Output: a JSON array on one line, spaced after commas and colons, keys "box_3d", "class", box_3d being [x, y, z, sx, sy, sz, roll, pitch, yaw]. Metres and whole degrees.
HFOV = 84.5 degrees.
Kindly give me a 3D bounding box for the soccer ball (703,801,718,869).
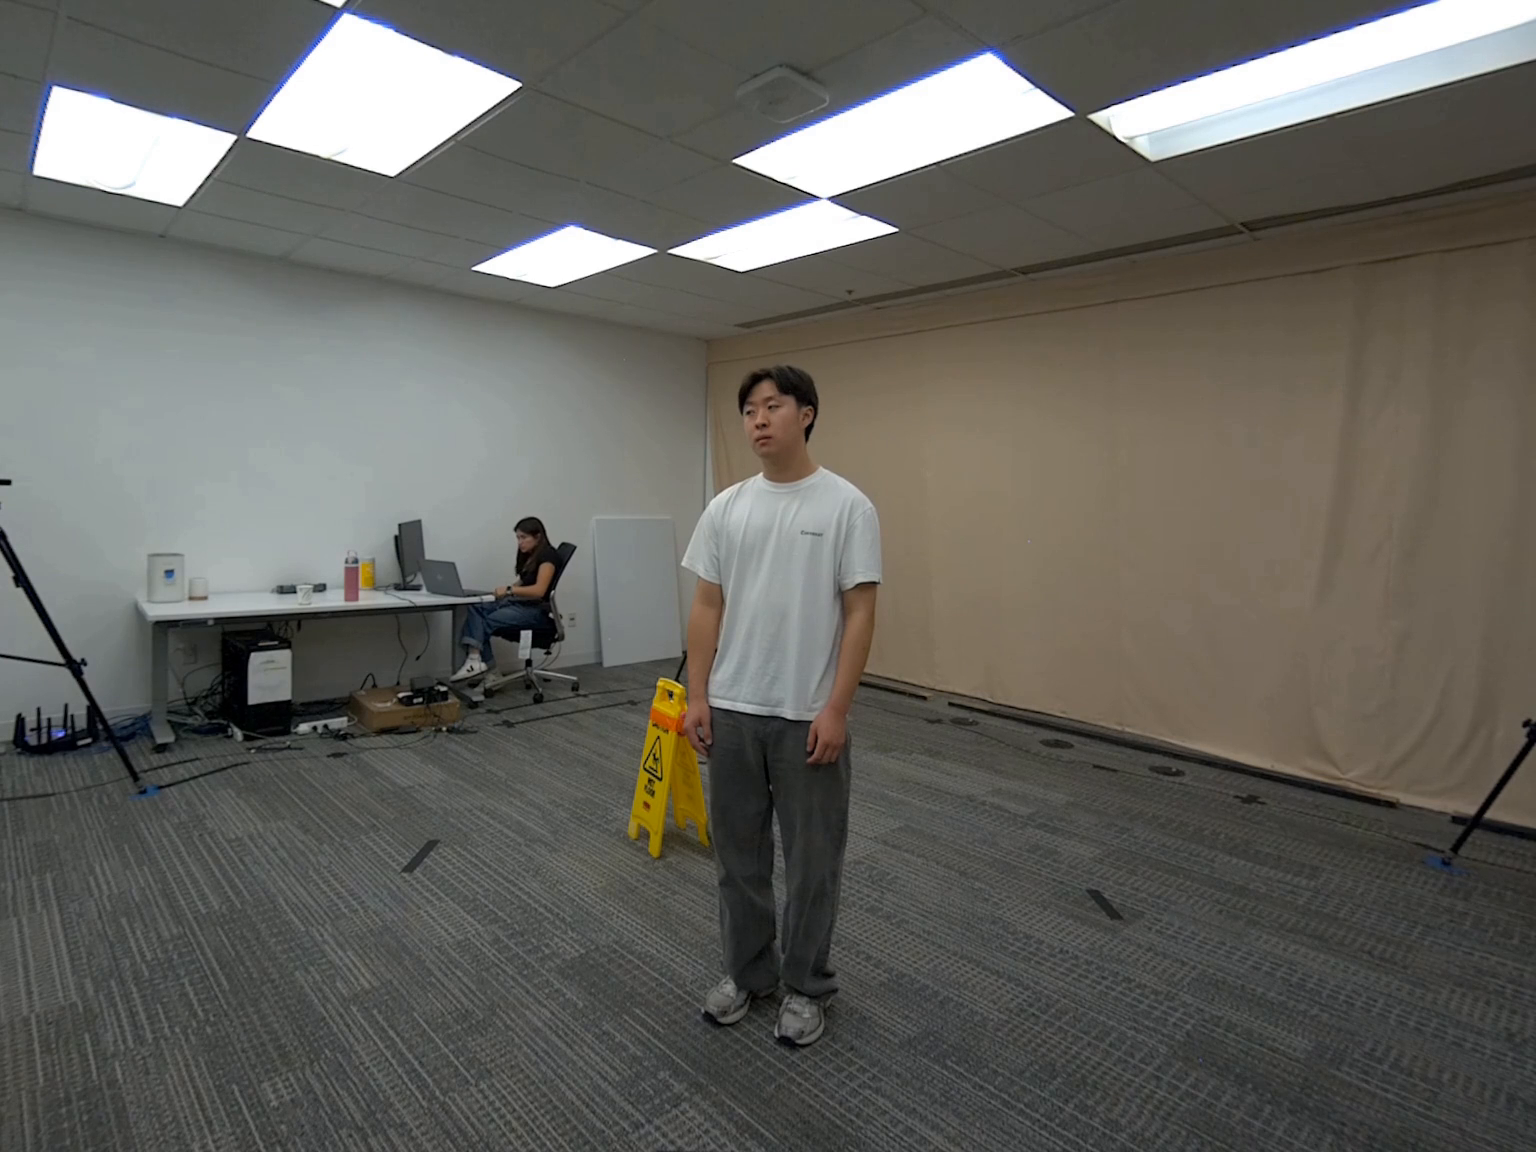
[{"box_3d": [-0.156, 1.006, 3.299, 0.187, 0.187, 0.188, 1, 4, -1], "class": "soccer ball"}]
